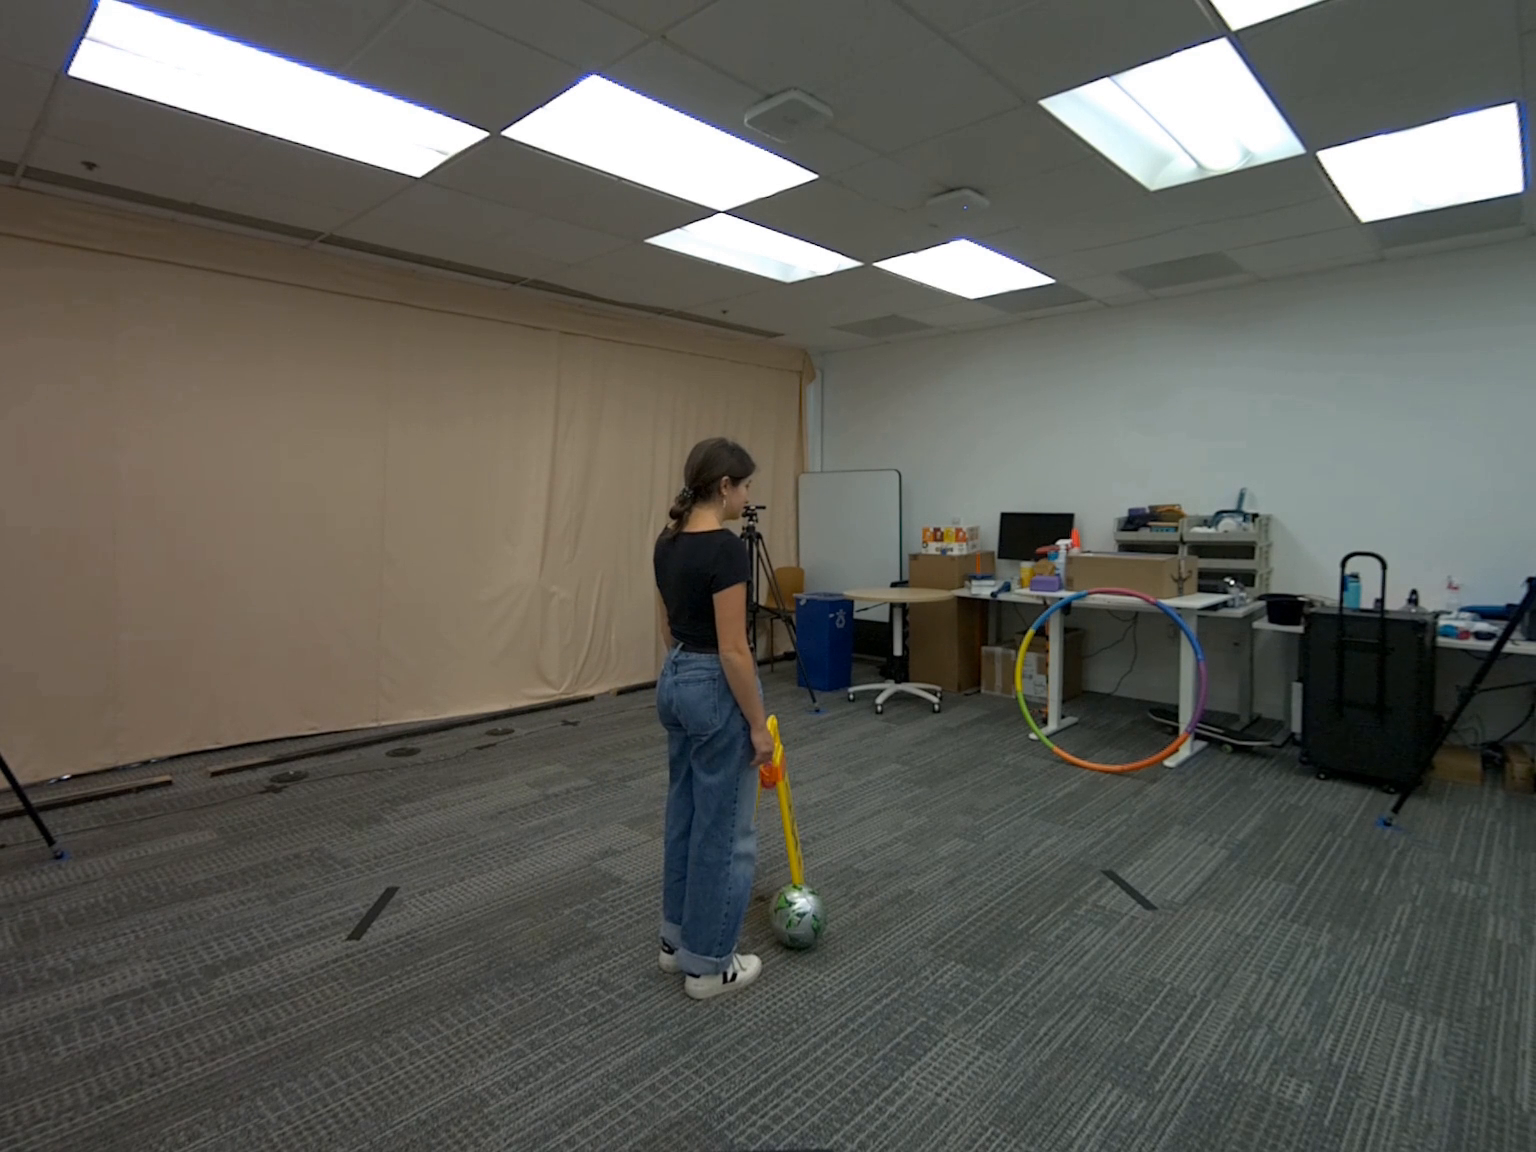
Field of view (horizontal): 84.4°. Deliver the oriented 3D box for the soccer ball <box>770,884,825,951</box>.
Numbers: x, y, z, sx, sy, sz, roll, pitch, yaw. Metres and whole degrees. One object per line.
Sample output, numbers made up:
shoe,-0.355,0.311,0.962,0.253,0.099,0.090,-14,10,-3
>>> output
soccer ball,0.104,1.082,2.660,0.187,0.187,0.188,0,4,-2
